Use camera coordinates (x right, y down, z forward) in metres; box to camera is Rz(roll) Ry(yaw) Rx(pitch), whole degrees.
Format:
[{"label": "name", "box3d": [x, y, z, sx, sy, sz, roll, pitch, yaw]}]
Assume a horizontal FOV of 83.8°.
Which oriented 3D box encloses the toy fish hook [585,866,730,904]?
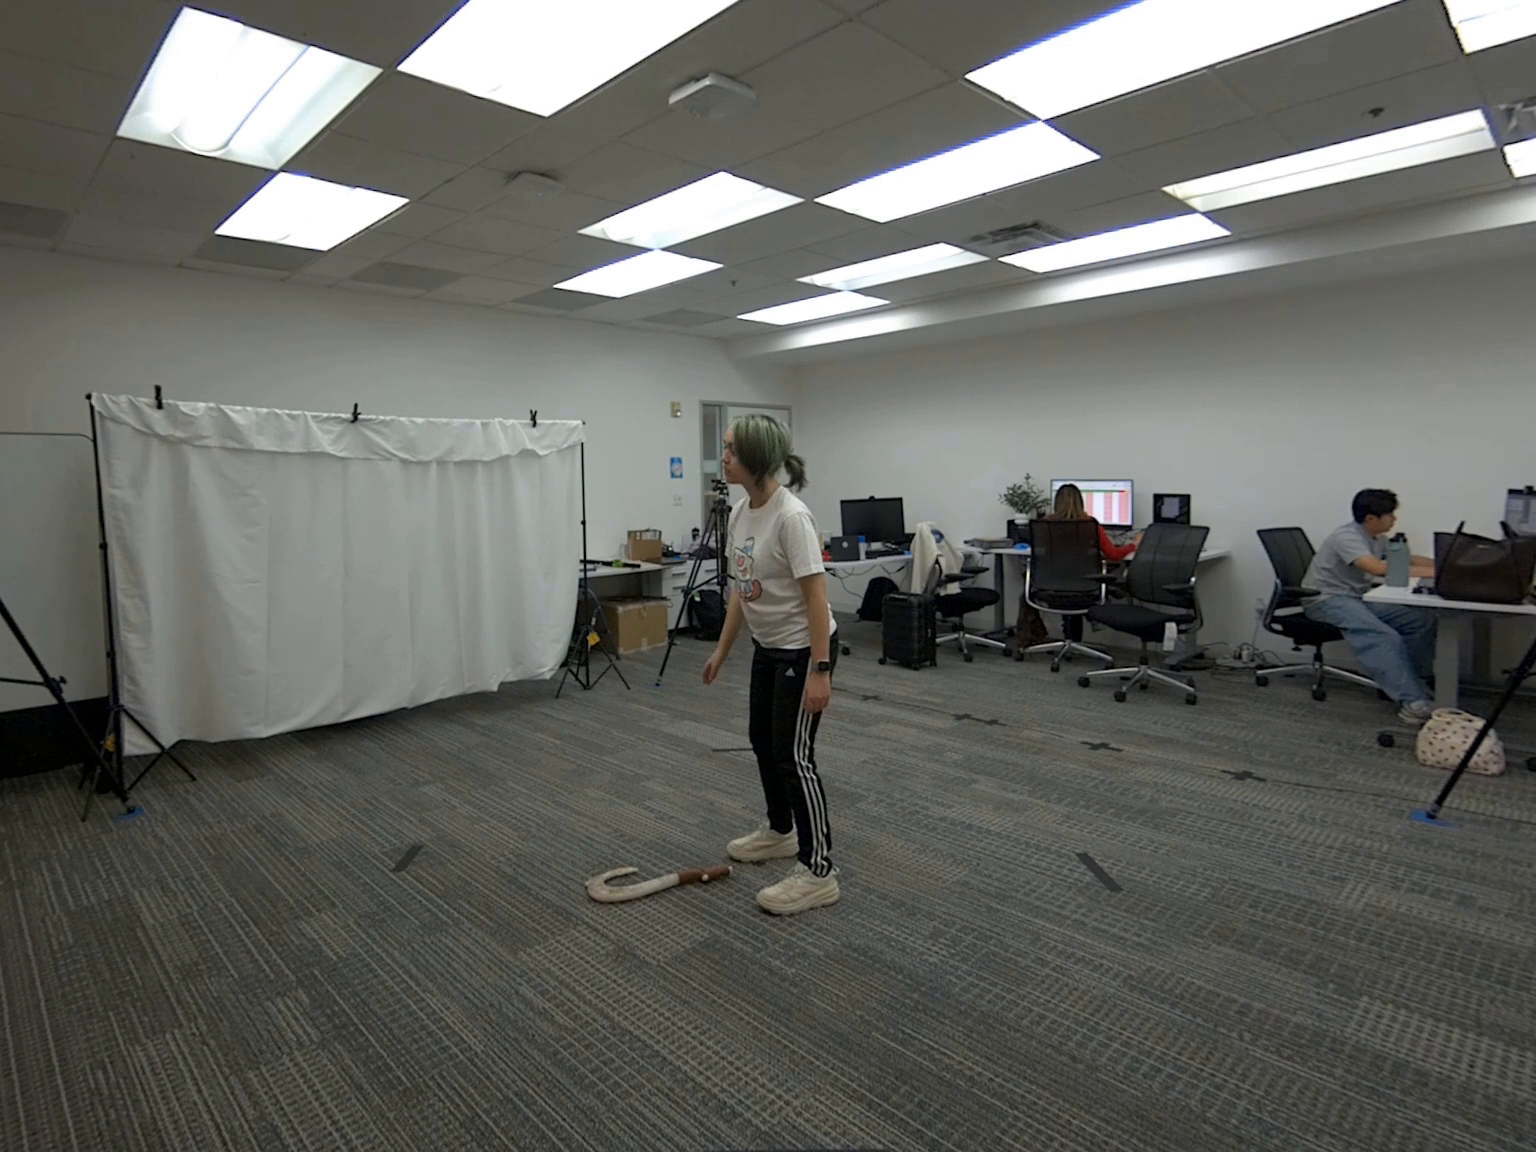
[{"label": "toy fish hook", "box3d": [-0.378, 1.045, 2.981, 0.498, 0.048, 0.229, -3, 7, -19]}]
